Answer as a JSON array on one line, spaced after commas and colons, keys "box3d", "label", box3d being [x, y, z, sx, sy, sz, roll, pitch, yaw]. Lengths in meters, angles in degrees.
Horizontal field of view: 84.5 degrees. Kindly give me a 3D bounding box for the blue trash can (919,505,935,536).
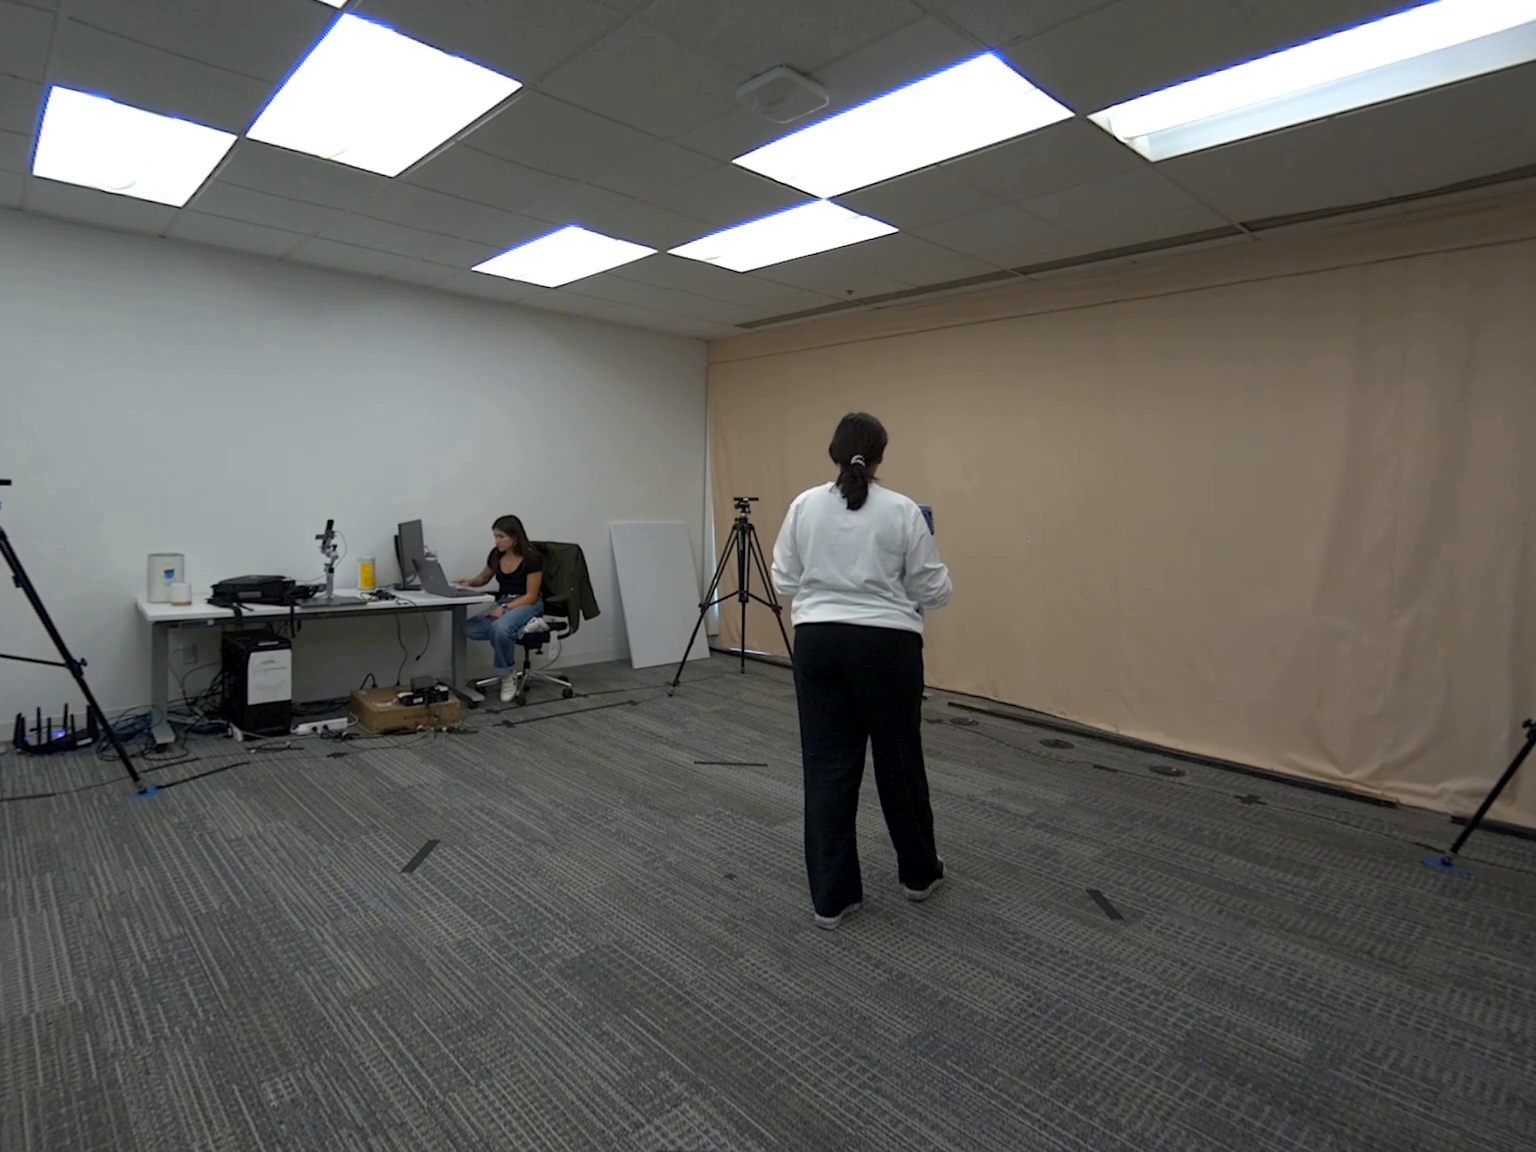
[{"box3d": [0.427, 0.118, 3.223, 0.383, 0.719, 0.366, 2, -12, 14], "label": "blue trash can"}]
